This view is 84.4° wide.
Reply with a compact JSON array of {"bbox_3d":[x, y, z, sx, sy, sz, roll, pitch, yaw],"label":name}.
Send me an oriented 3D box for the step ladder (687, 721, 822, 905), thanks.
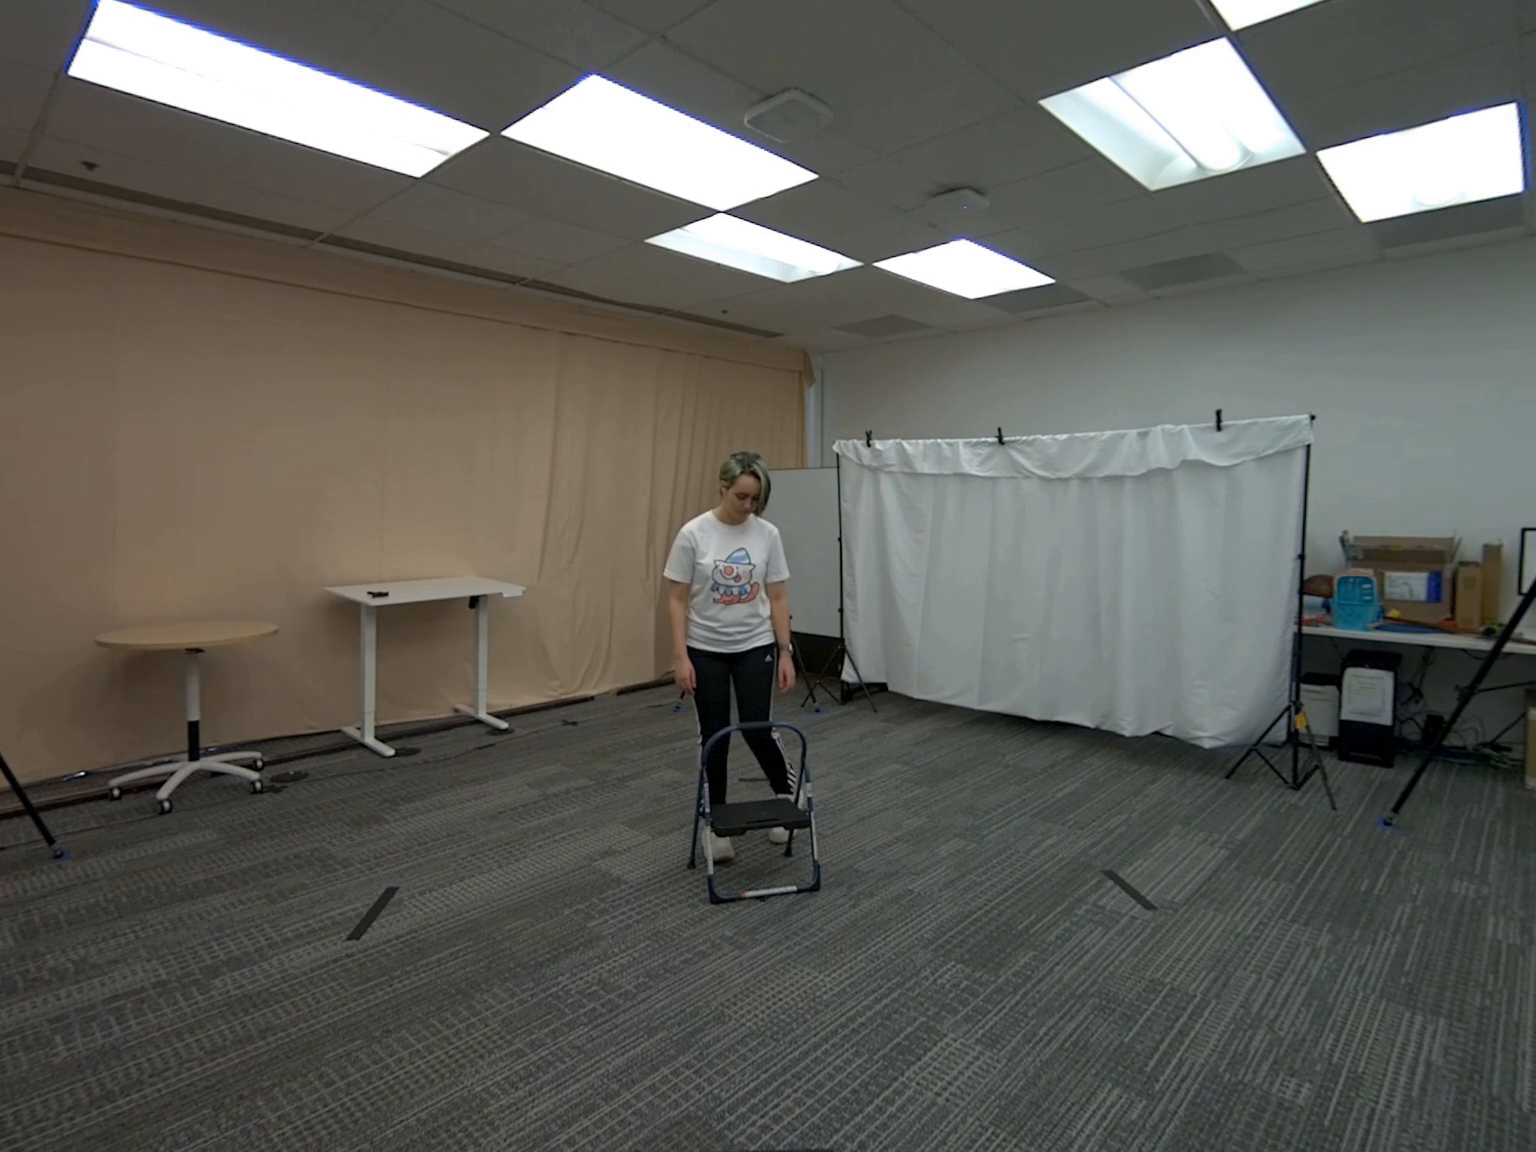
[{"bbox_3d":[-0.055,0.832,3.133,0.423,0.604,0.356,-2,5,-18],"label":"step ladder"}]
